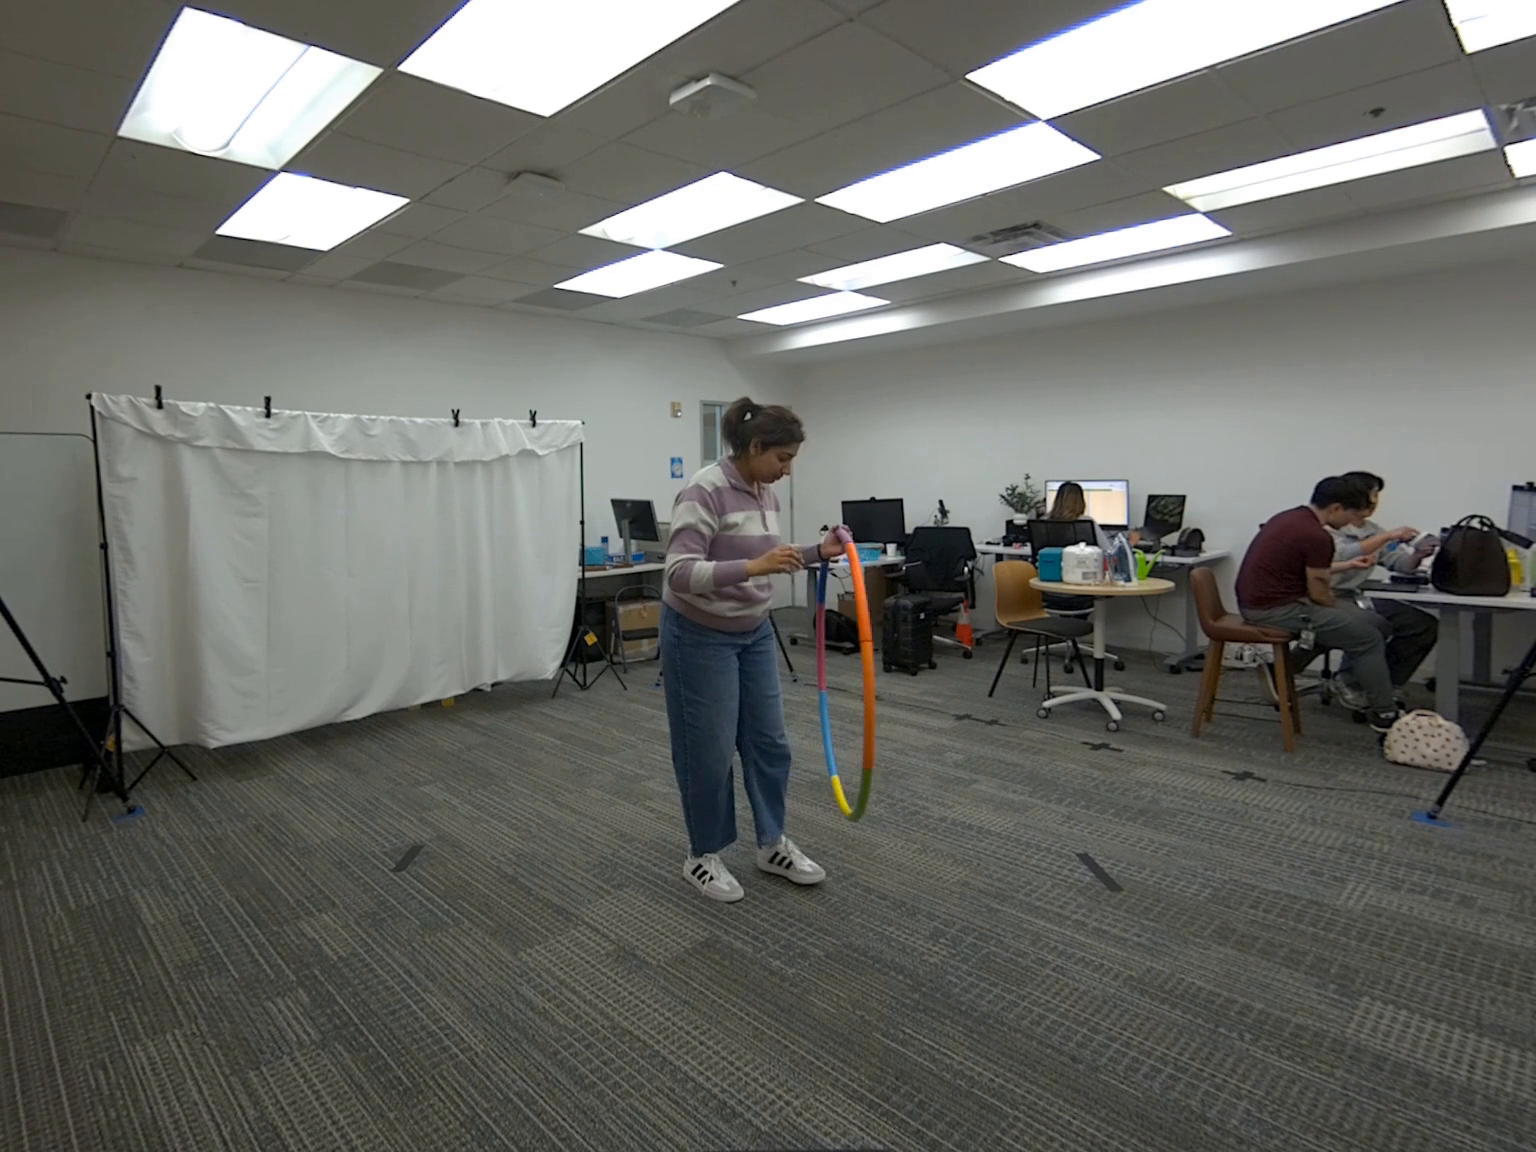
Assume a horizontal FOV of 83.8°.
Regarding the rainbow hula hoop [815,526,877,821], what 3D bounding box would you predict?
[{"bbox_3d":[0.256,0.332,2.943,0.051,0.982,0.991,-1,5,-4],"label":"rainbow hula hoop"}]
